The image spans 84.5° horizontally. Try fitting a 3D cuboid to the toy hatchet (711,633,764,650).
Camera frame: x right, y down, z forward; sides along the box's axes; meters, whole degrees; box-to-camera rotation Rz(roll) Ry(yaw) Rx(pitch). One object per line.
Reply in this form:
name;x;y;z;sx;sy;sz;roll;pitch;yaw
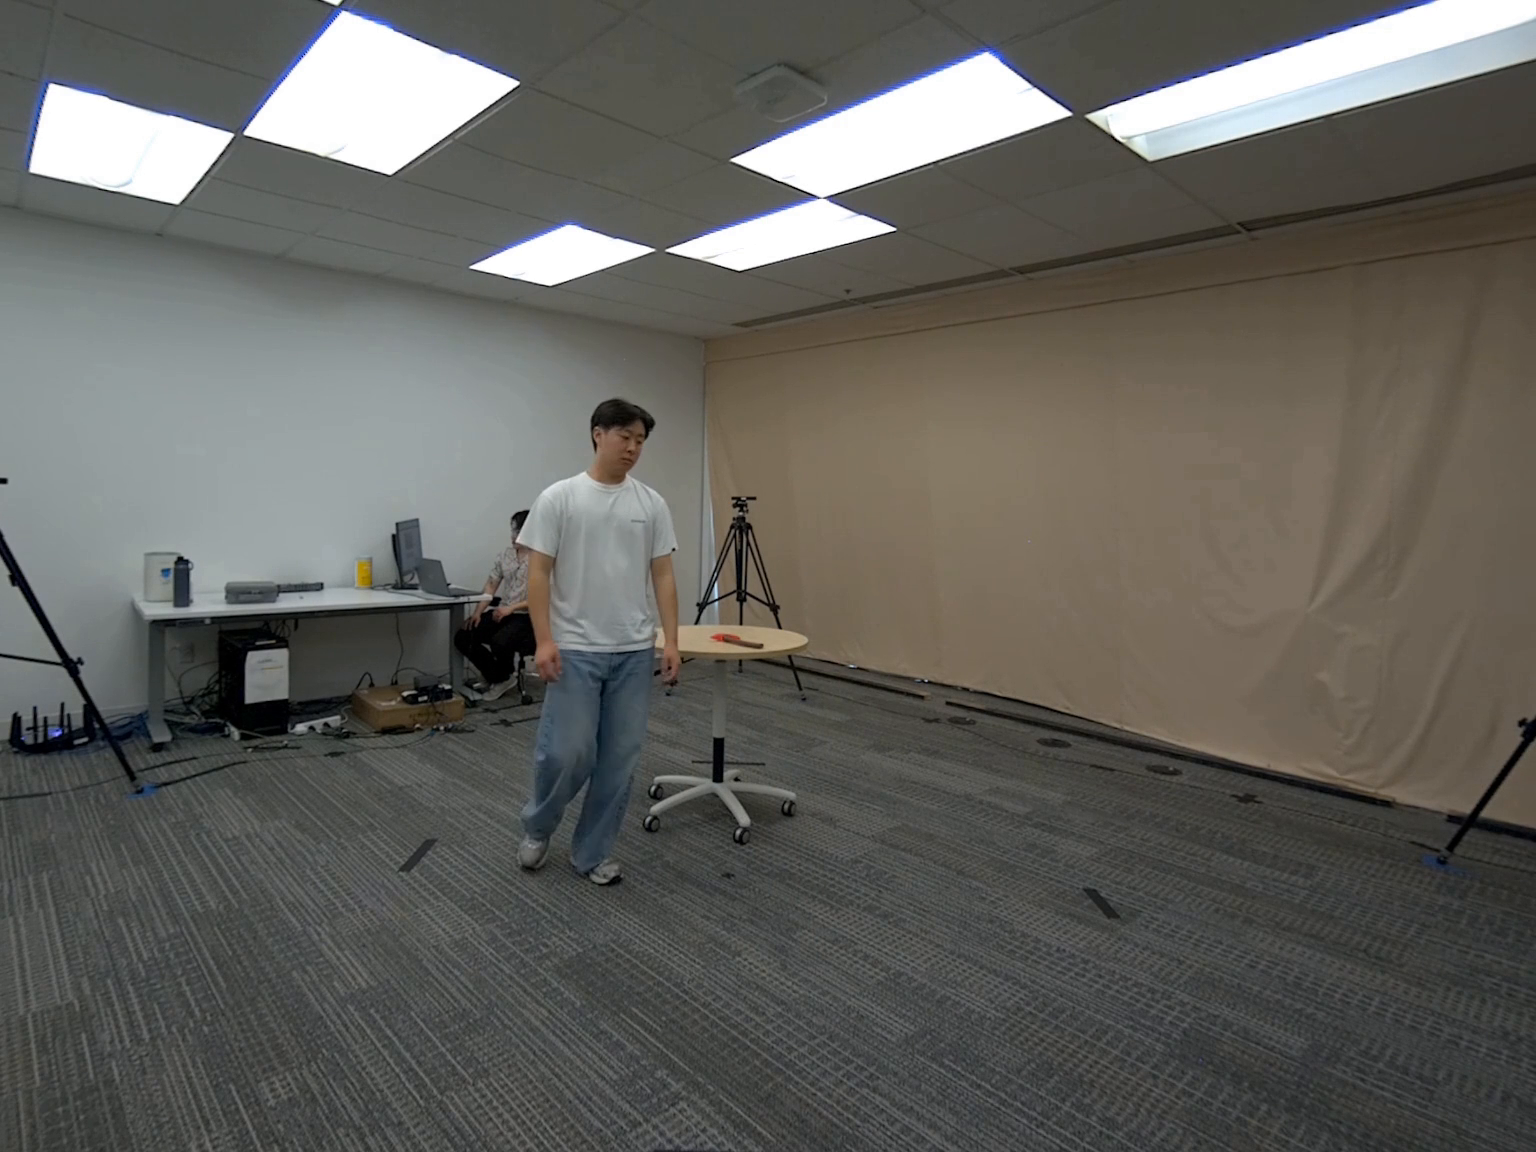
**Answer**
toy hatchet;-0.120;0.275;3.547;0.277;0.029;0.128;7;3;38
